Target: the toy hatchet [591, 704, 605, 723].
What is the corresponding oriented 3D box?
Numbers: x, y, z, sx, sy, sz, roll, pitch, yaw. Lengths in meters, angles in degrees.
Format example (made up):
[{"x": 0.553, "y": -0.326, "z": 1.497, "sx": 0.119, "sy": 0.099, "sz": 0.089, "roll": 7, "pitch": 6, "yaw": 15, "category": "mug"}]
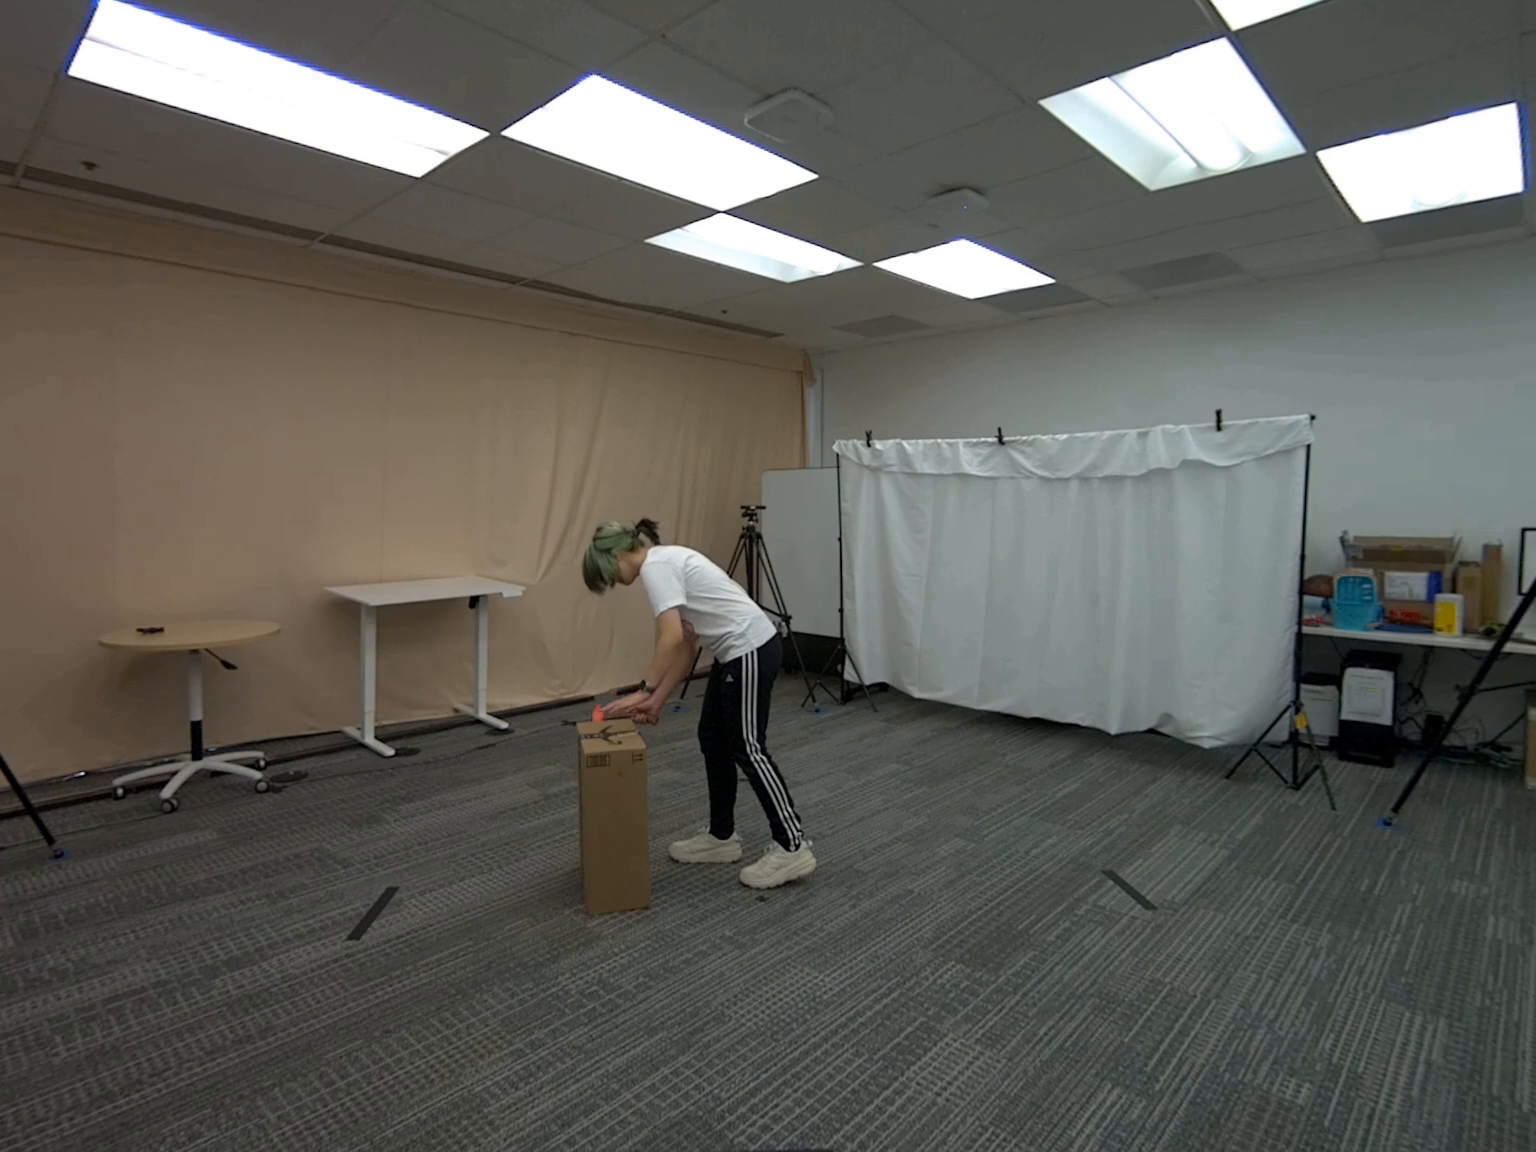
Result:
[{"x": -0.578, "y": 0.580, "z": 3.332, "sx": 0.275, "sy": 0.029, "sz": 0.132, "roll": 6, "pitch": 44, "yaw": 16, "category": "toy hatchet"}]
